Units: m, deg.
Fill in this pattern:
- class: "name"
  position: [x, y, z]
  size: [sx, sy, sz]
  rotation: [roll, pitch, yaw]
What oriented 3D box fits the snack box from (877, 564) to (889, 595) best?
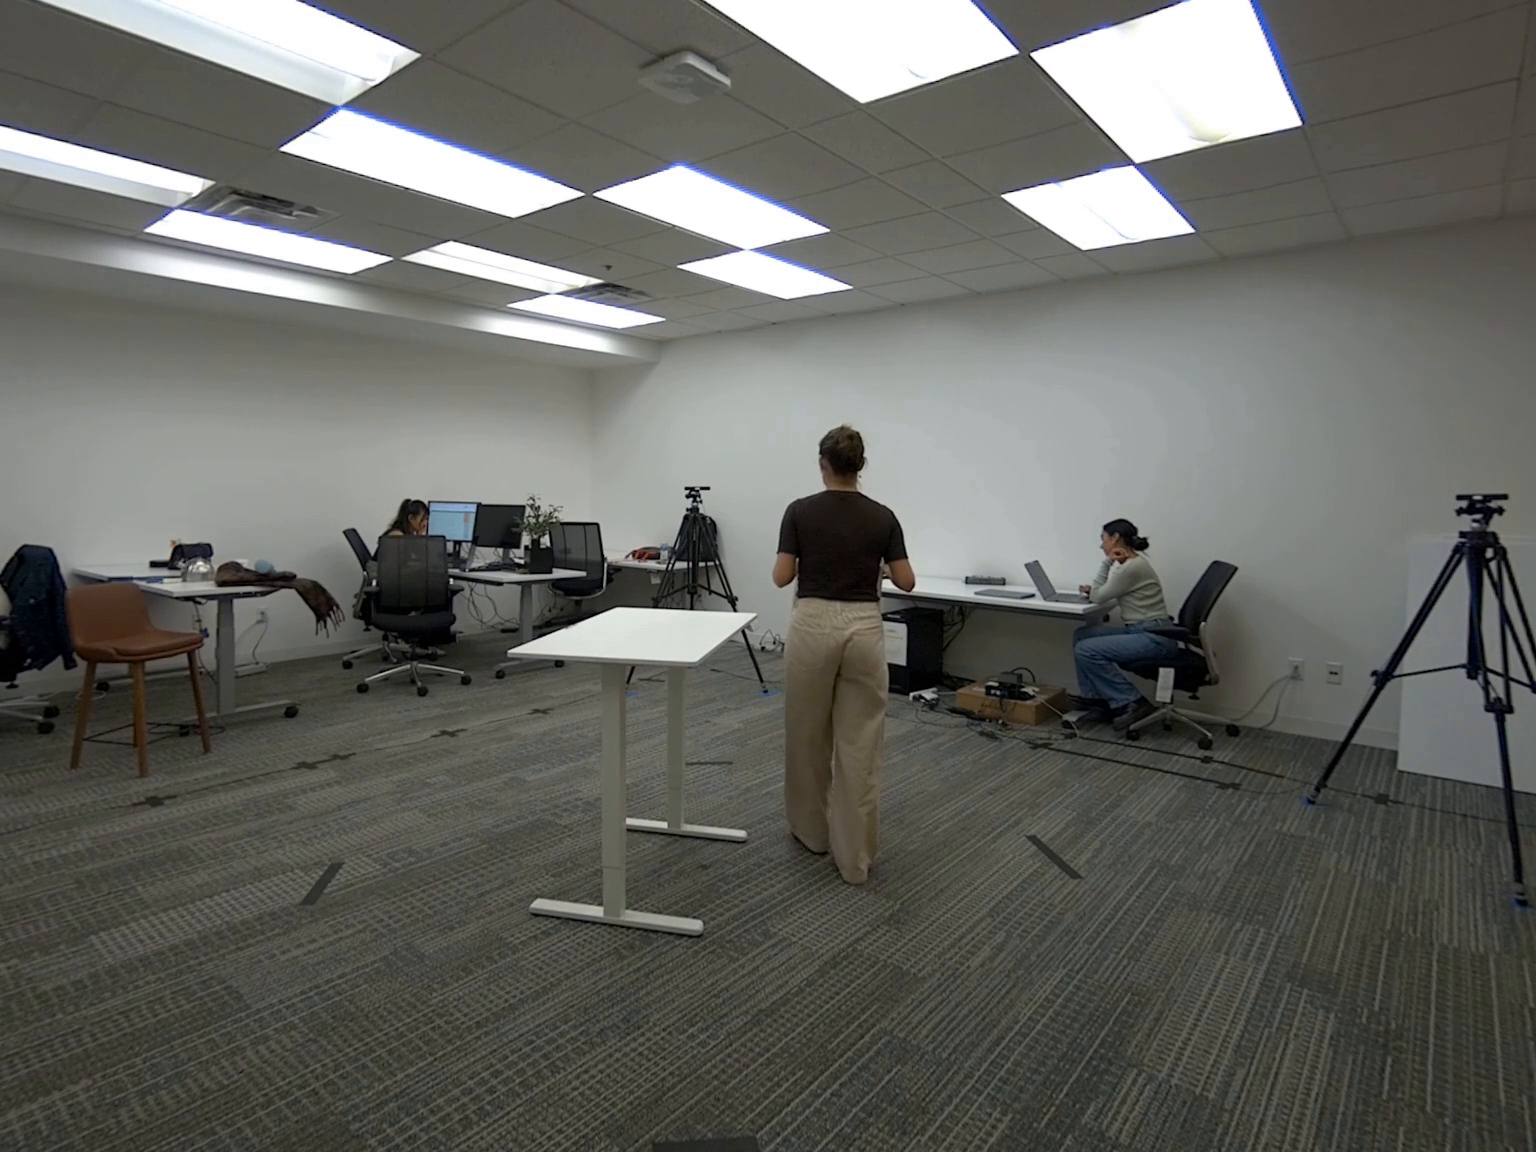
- class: "snack box"
  position: [0.266, 0.133, 3.463]
  size: [0.341, 0.404, 0.206]
  rotation: [4, 4, 1]
